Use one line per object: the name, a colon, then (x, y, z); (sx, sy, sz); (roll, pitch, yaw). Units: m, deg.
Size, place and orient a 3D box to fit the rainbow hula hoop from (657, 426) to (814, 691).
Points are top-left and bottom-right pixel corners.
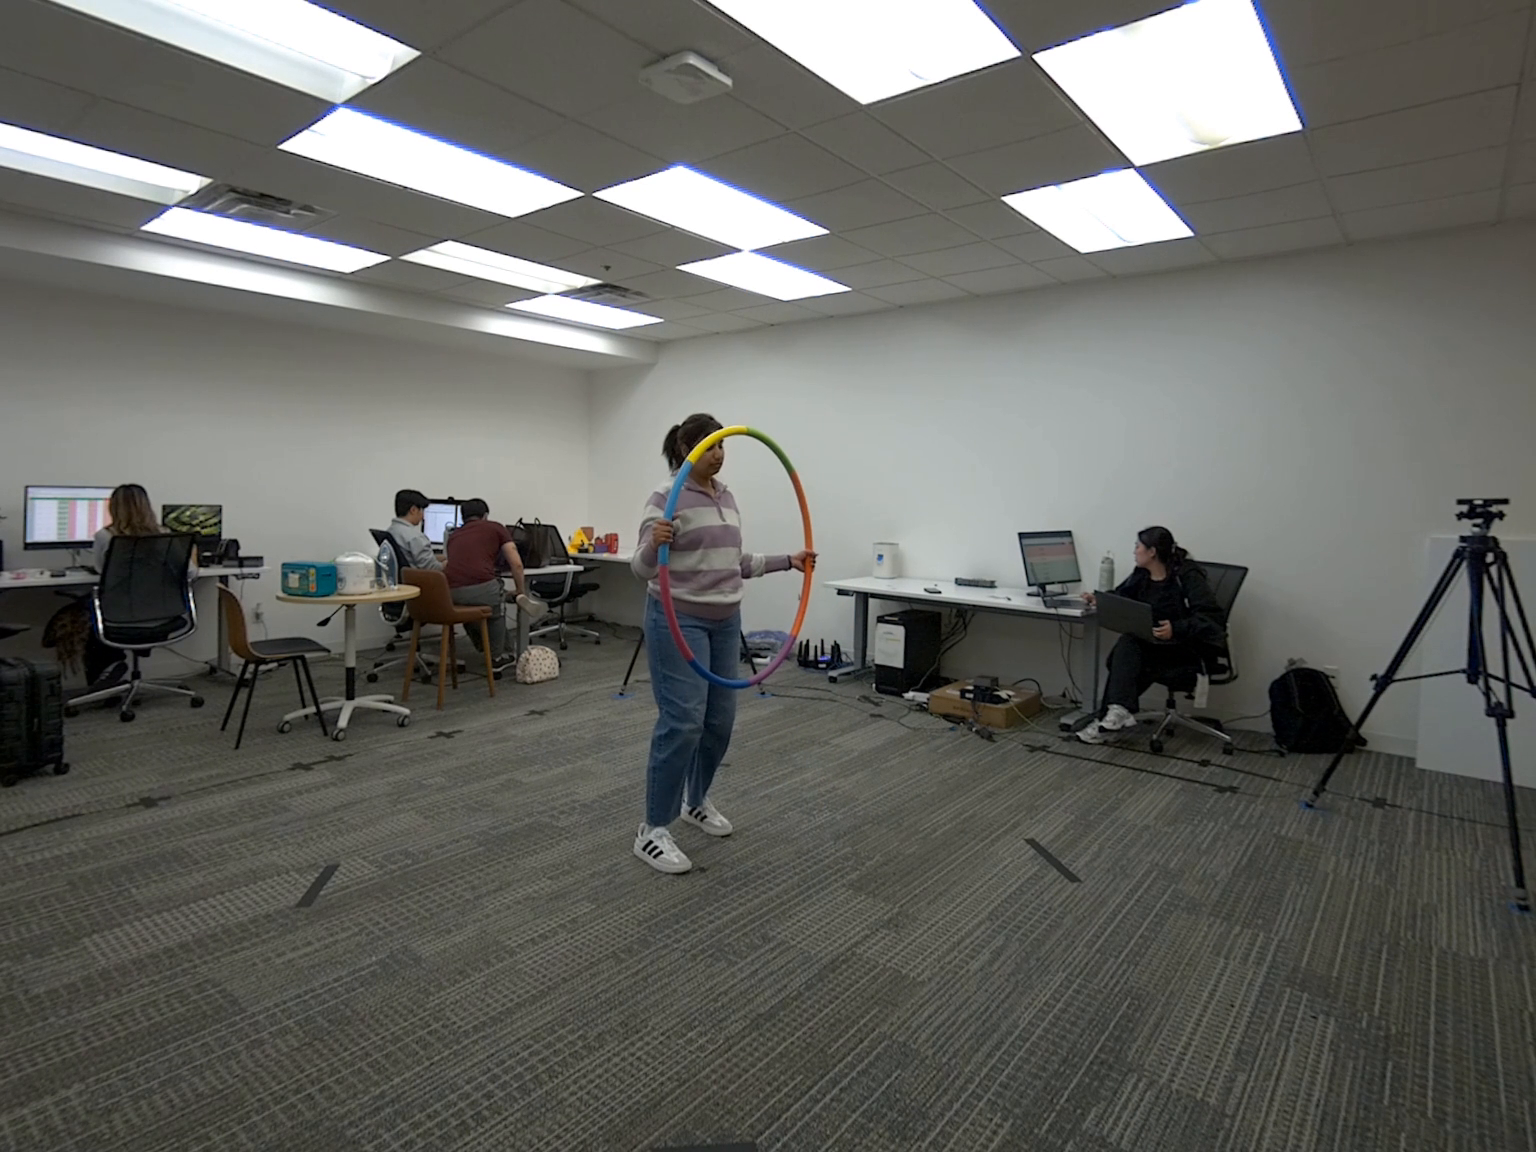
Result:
rainbow hula hoop: (-0.097, -0.074, 3.225); (0.036, 0.977, 0.951); (0, 3, 35)
